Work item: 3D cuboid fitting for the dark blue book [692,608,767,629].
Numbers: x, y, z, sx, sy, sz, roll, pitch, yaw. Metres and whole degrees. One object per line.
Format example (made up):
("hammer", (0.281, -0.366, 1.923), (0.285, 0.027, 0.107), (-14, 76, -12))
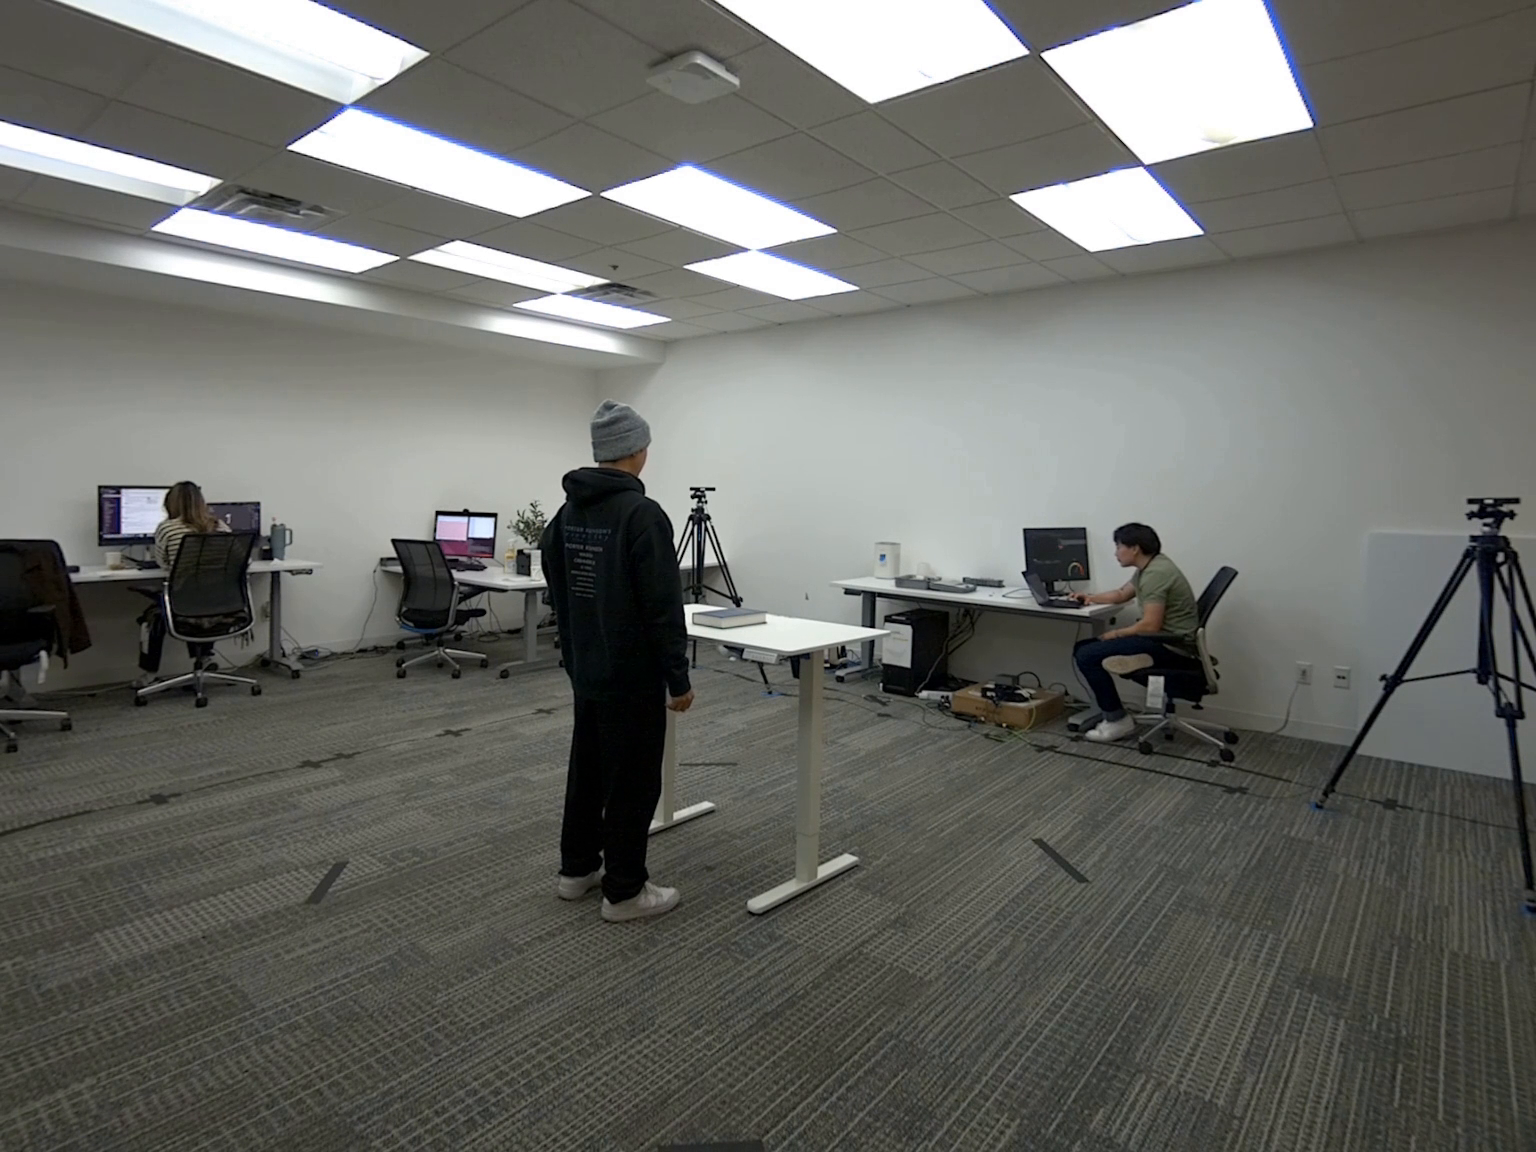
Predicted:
("dark blue book", (-0.146, 0.157, 3.206), (0.169, 0.045, 0.238), (5, 7, 43))
